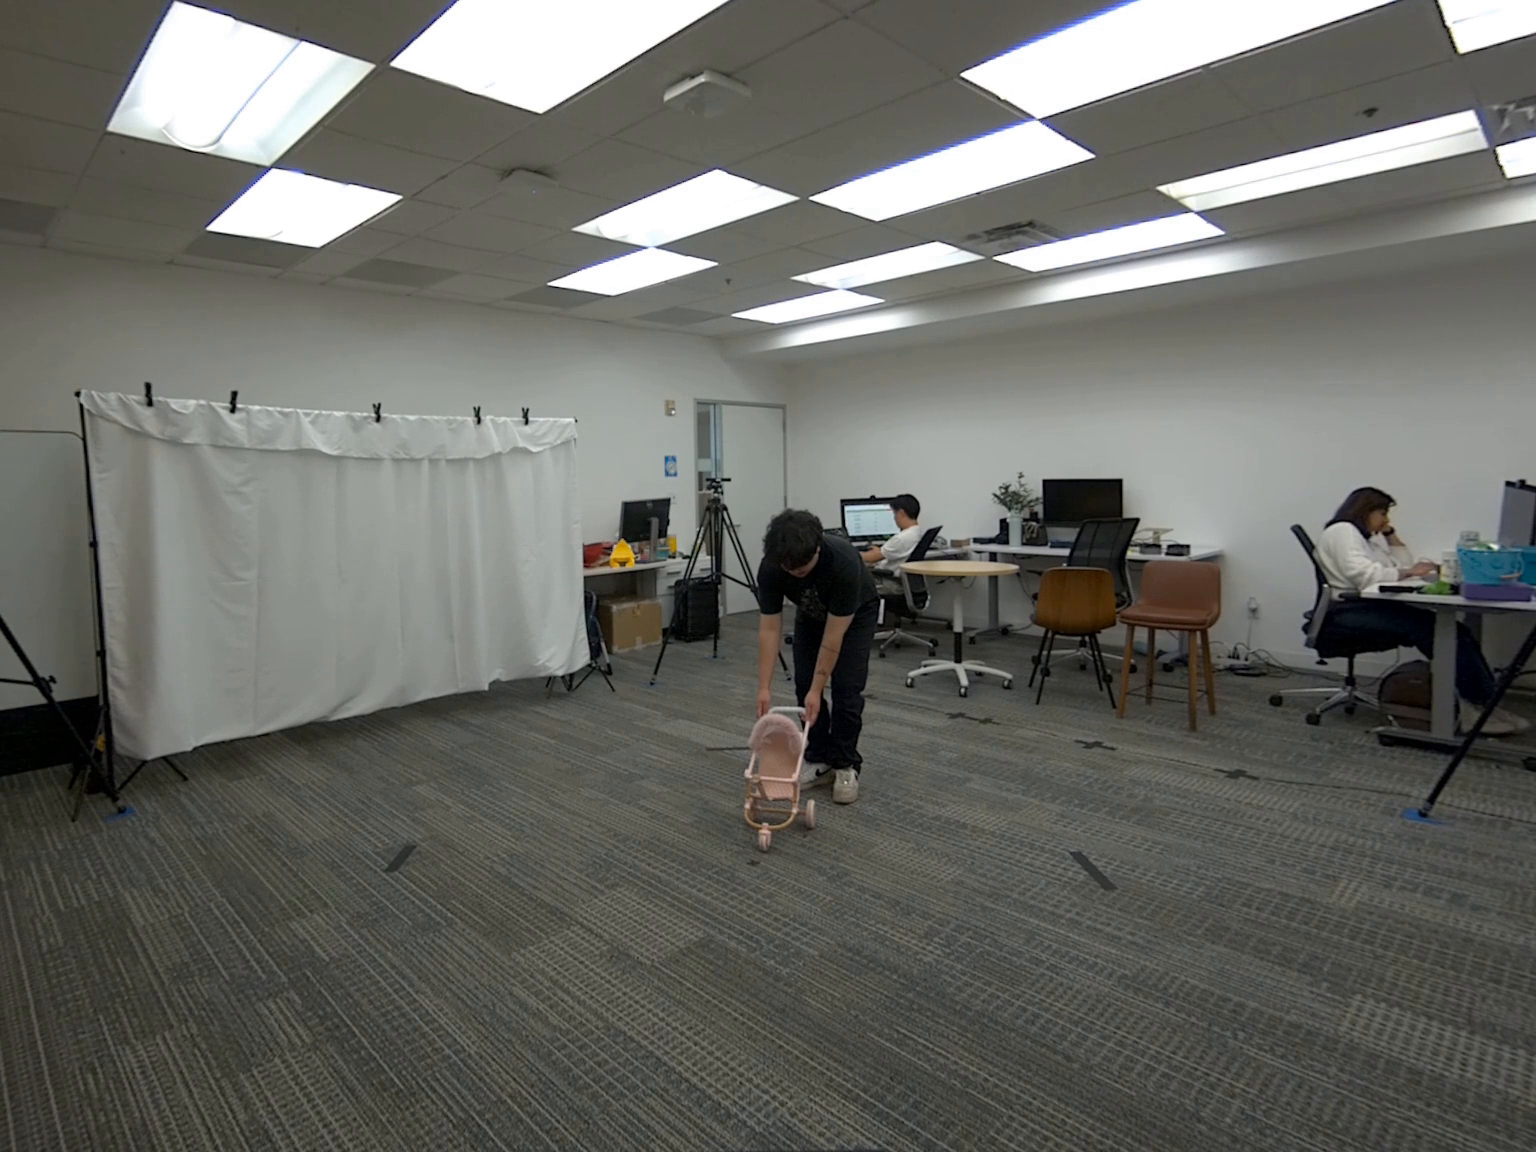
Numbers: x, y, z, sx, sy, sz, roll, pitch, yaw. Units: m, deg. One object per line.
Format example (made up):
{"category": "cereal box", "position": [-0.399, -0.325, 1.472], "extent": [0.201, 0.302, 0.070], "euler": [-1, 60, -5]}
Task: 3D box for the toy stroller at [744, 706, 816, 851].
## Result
{"category": "toy stroller", "position": [0.029, 0.786, 3.377], "extent": [0.287, 0.540, 0.332], "euler": [0, -11, 20]}
